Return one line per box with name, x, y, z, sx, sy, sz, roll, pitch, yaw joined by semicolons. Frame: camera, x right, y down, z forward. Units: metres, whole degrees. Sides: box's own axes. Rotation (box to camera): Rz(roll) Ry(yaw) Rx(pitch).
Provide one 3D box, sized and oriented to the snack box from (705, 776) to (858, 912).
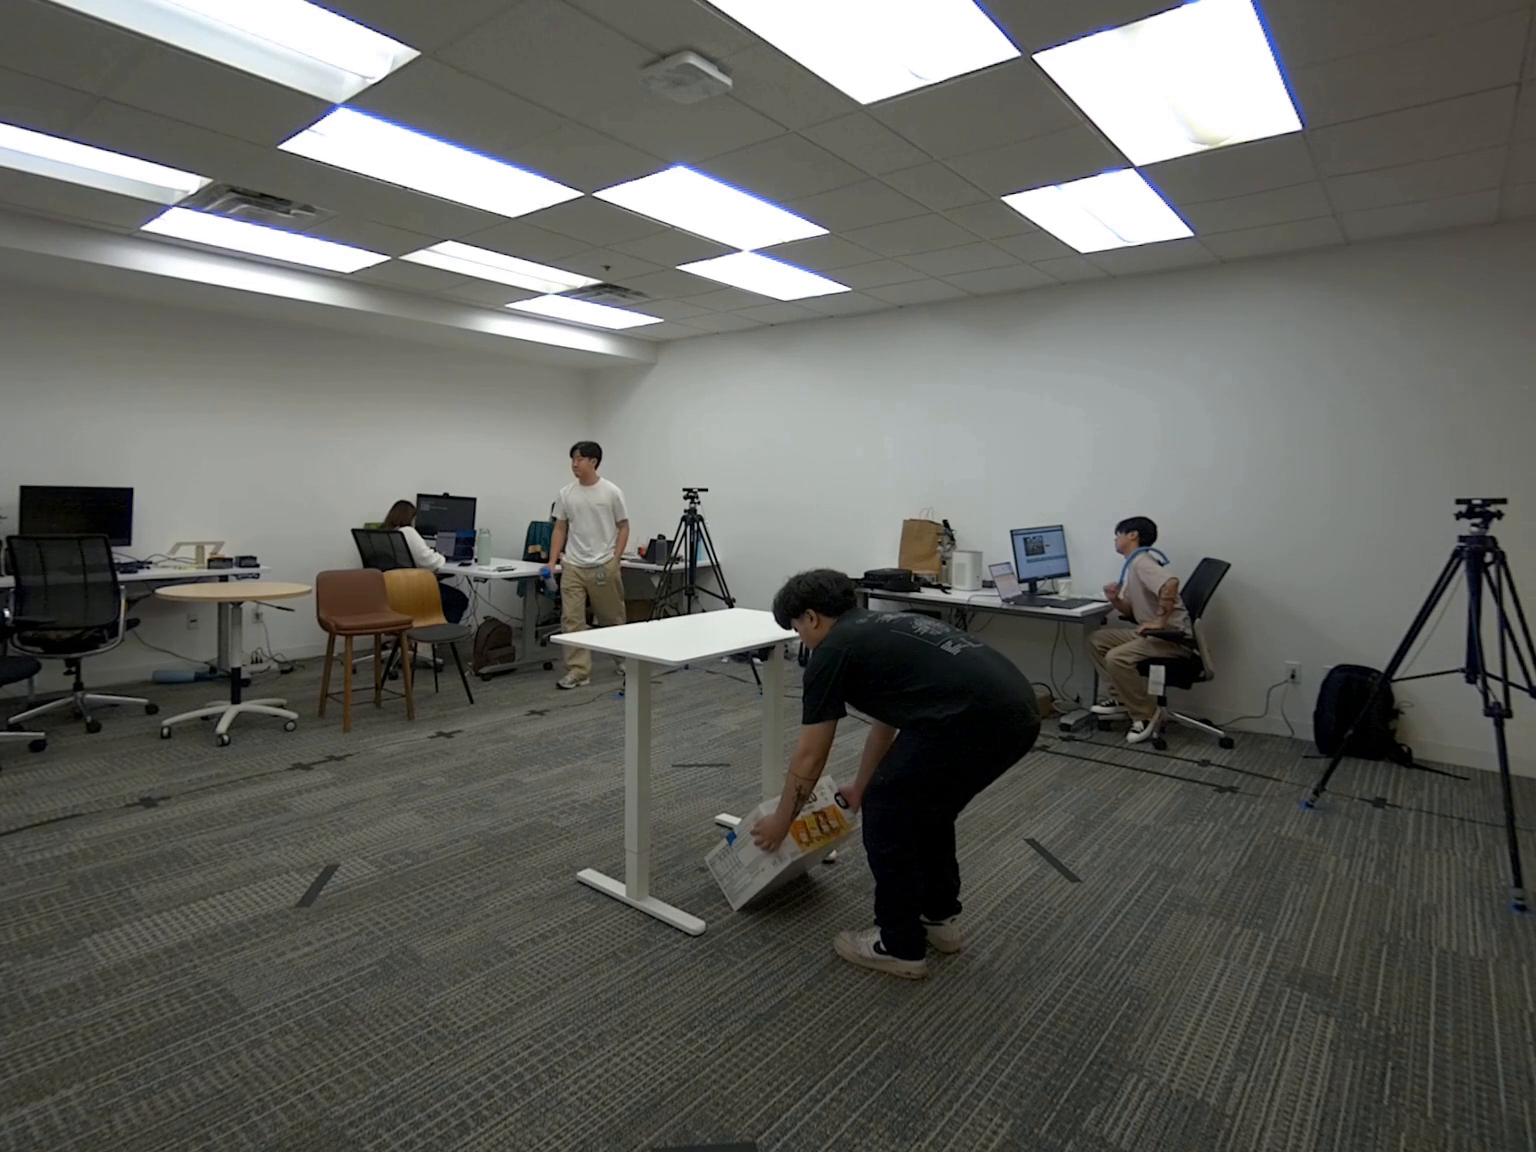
snack box;0.049;0.904;2.907;0.393;0.339;0.212;-4;50;-51
